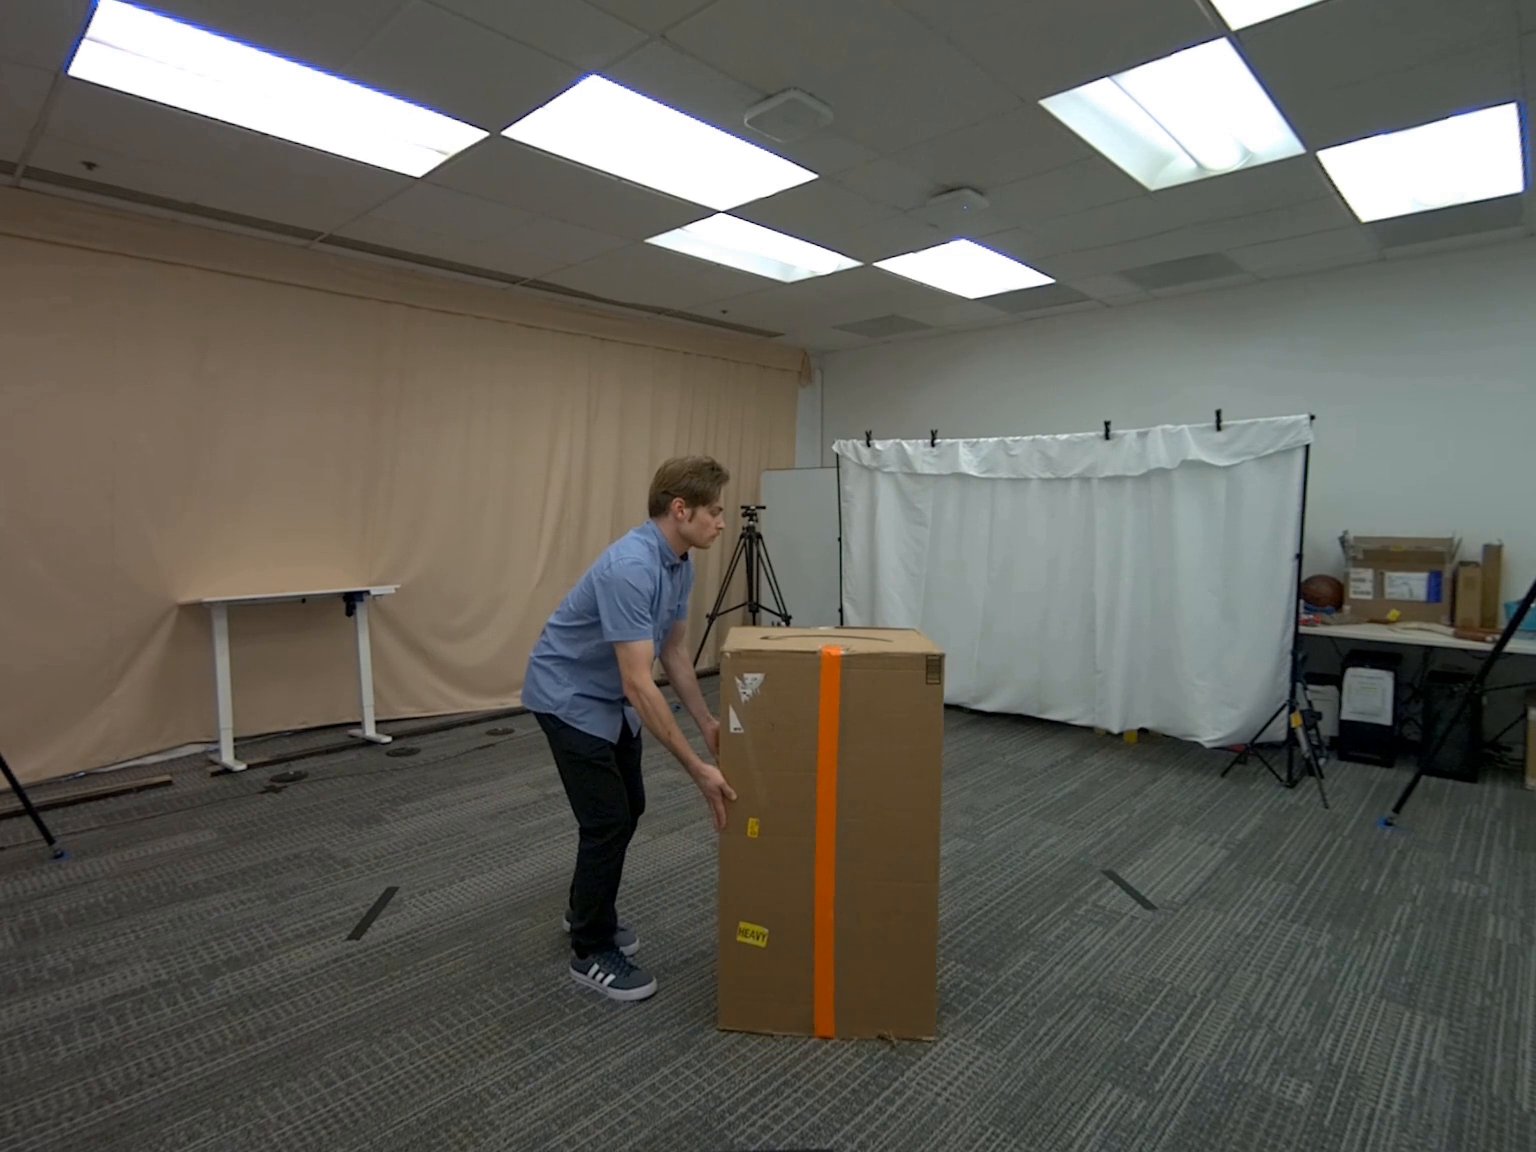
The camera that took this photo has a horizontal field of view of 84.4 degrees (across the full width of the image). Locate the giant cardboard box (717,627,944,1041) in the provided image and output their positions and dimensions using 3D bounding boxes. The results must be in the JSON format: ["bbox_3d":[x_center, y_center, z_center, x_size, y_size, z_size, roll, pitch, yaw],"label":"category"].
[{"bbox_3d":[0.167,0.686,2.380,0.580,1.024,0.425,1,3,3],"label":"giant cardboard box"}]
